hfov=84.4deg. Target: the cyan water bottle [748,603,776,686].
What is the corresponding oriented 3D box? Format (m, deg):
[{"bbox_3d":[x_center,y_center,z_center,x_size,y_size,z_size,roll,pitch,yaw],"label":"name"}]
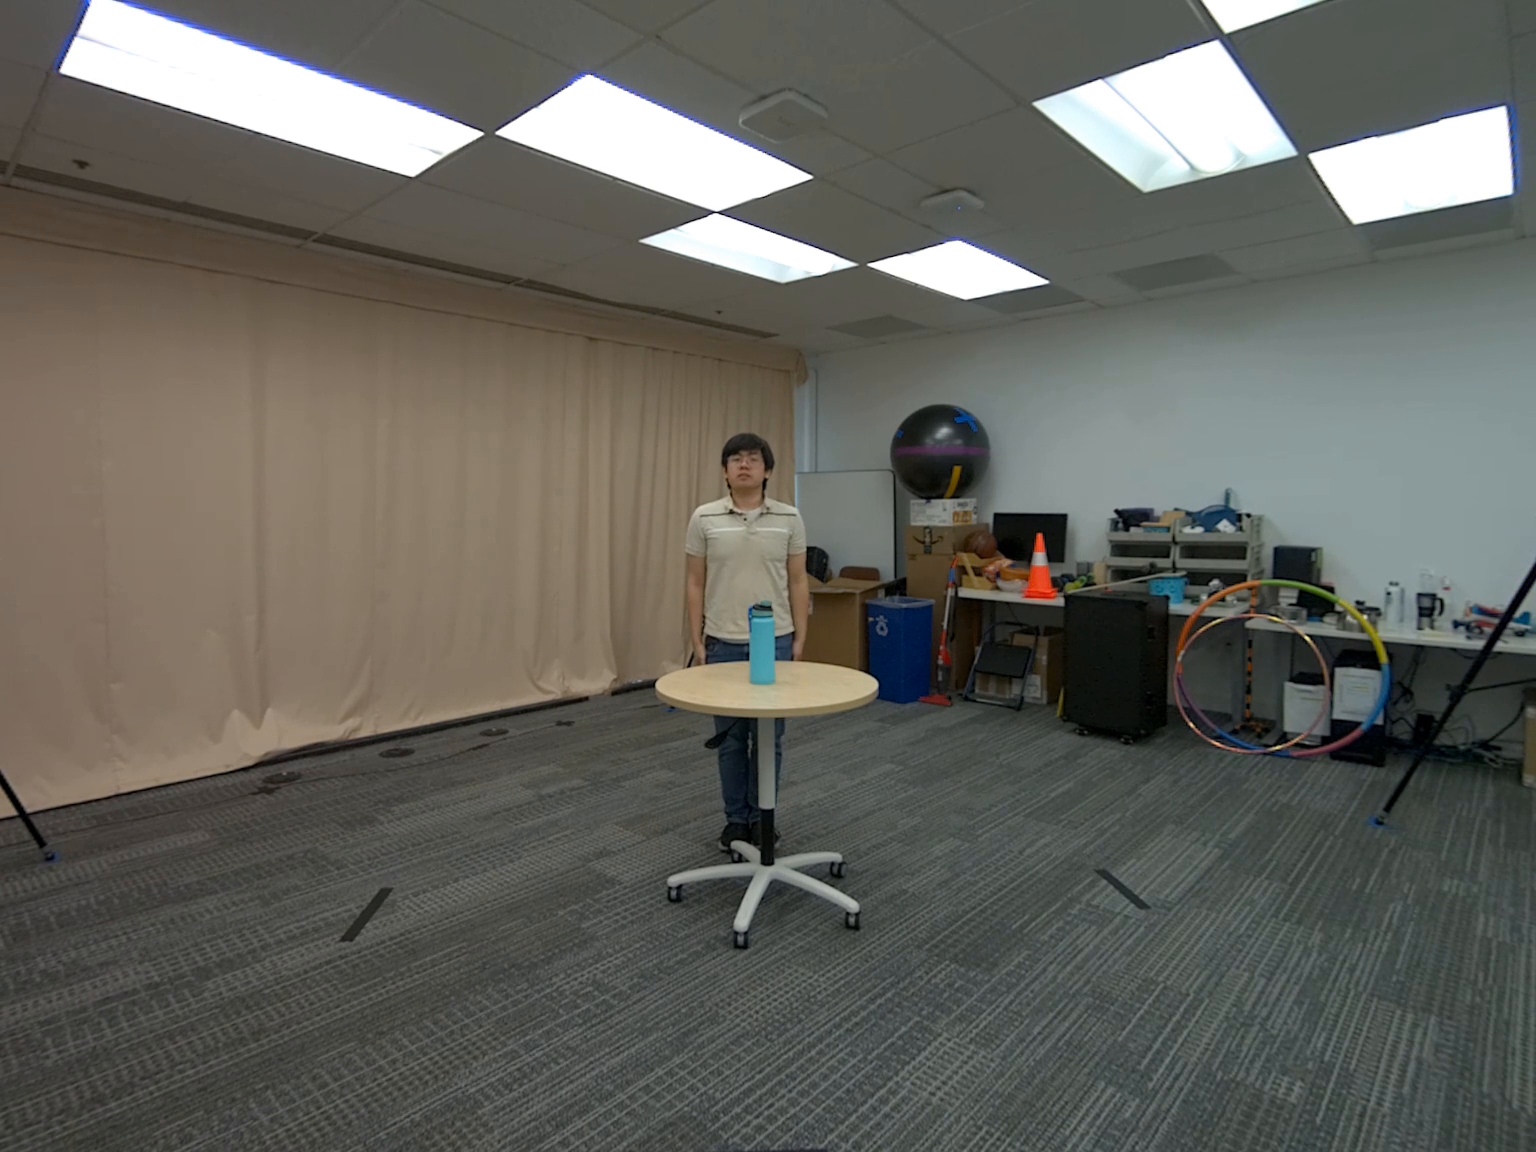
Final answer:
[{"bbox_3d":[-0.013,0.229,2.909,0.092,0.283,0.092,1,2,-2],"label":"cyan water bottle"}]
